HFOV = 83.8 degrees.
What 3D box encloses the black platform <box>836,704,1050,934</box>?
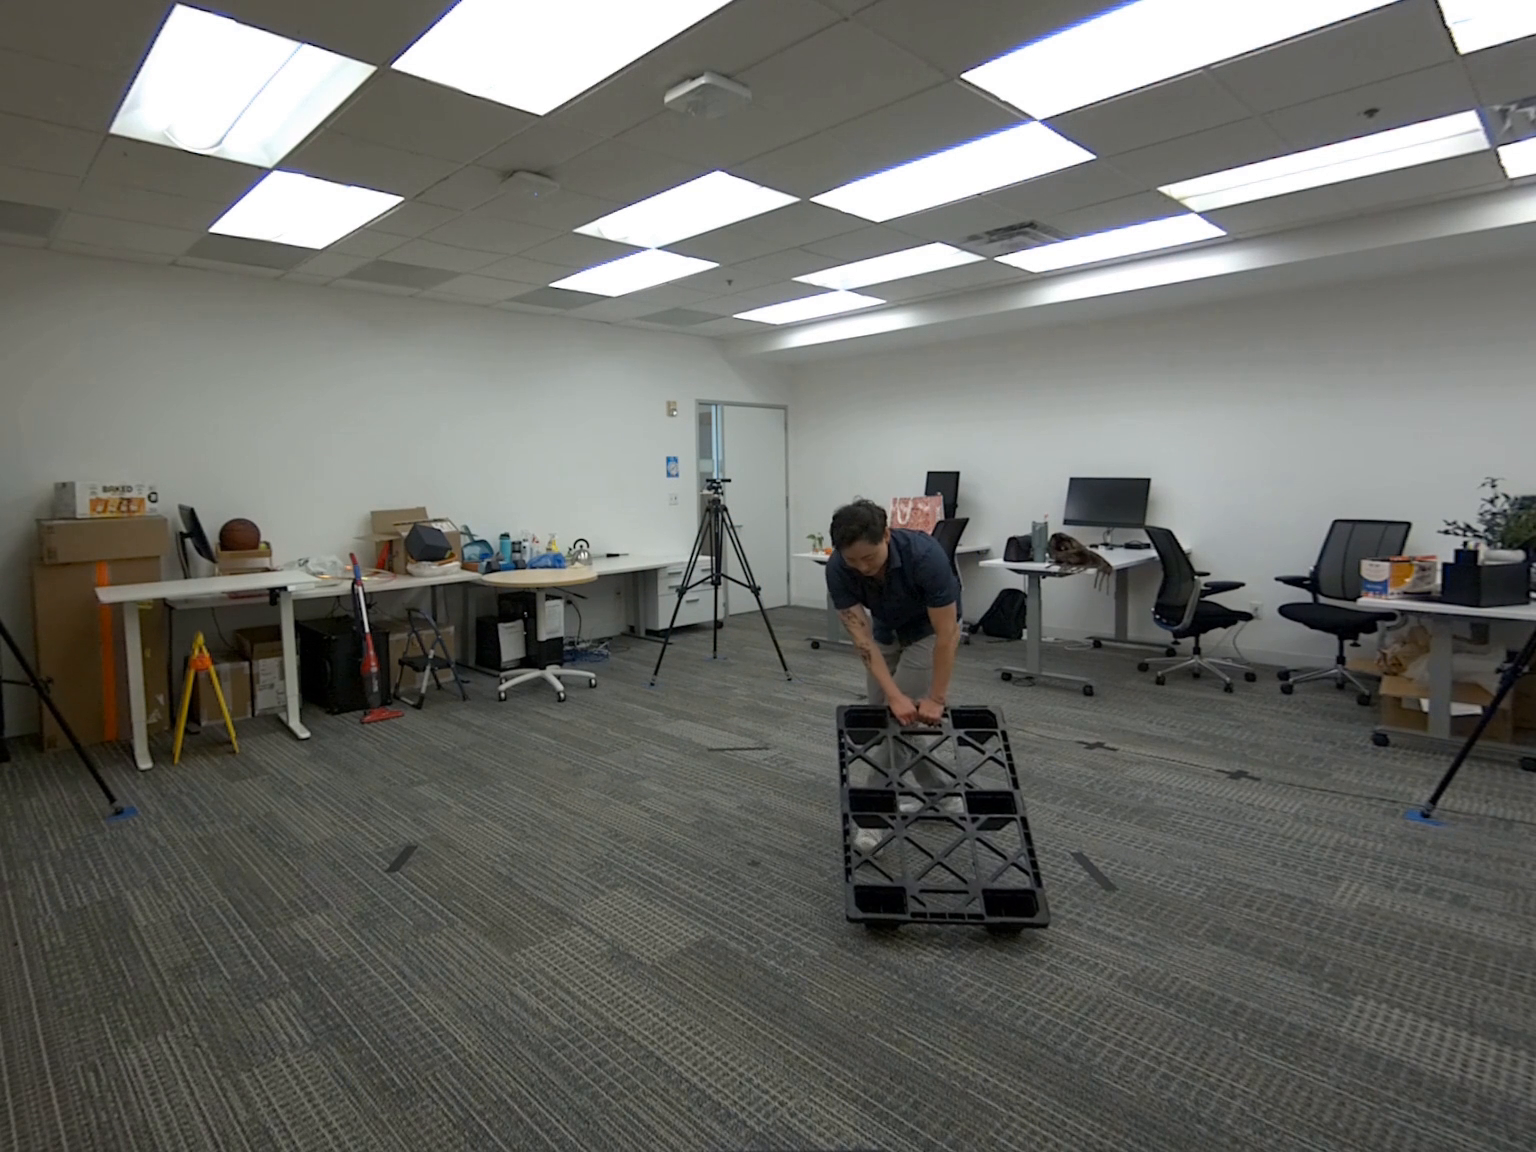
[{"bbox_3d":[0.545,0.788,2.866,0.608,0.139,0.825,-1,42,4],"label":"black platform"}]
